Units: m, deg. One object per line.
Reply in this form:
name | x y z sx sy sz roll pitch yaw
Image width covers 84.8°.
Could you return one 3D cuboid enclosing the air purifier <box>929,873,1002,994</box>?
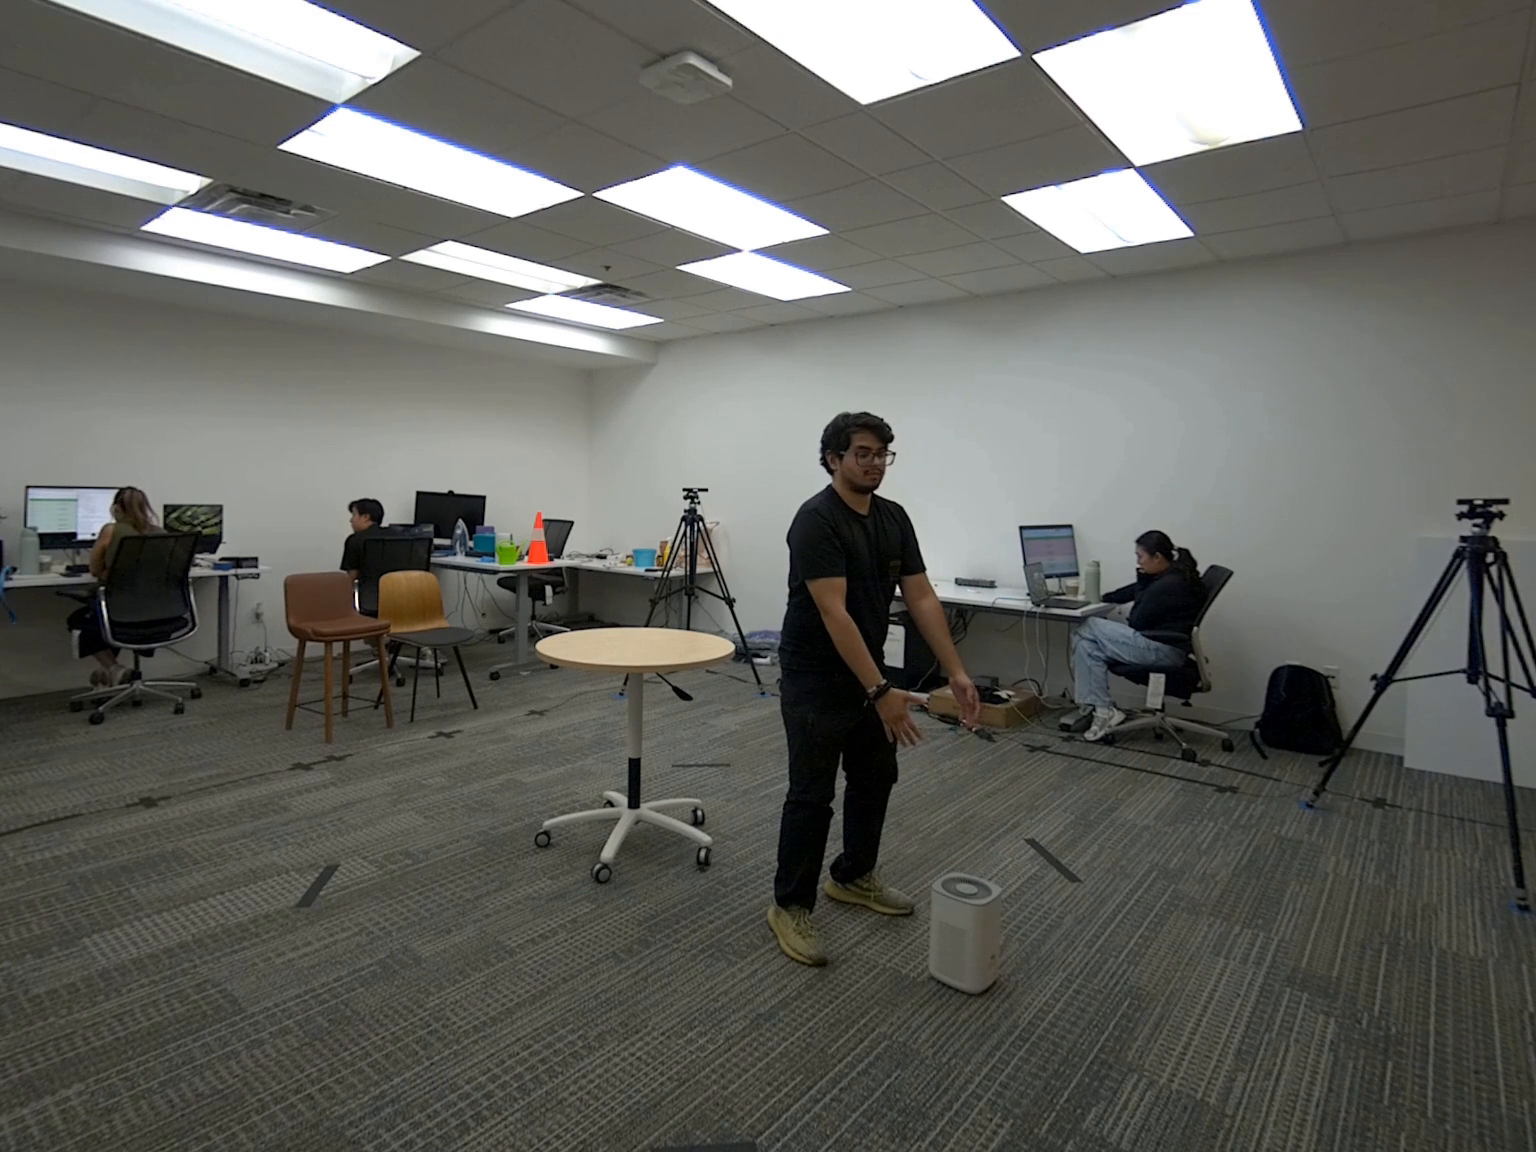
air purifier | 0.564 1.016 2.445 0.177 0.265 0.166 5 4 38
